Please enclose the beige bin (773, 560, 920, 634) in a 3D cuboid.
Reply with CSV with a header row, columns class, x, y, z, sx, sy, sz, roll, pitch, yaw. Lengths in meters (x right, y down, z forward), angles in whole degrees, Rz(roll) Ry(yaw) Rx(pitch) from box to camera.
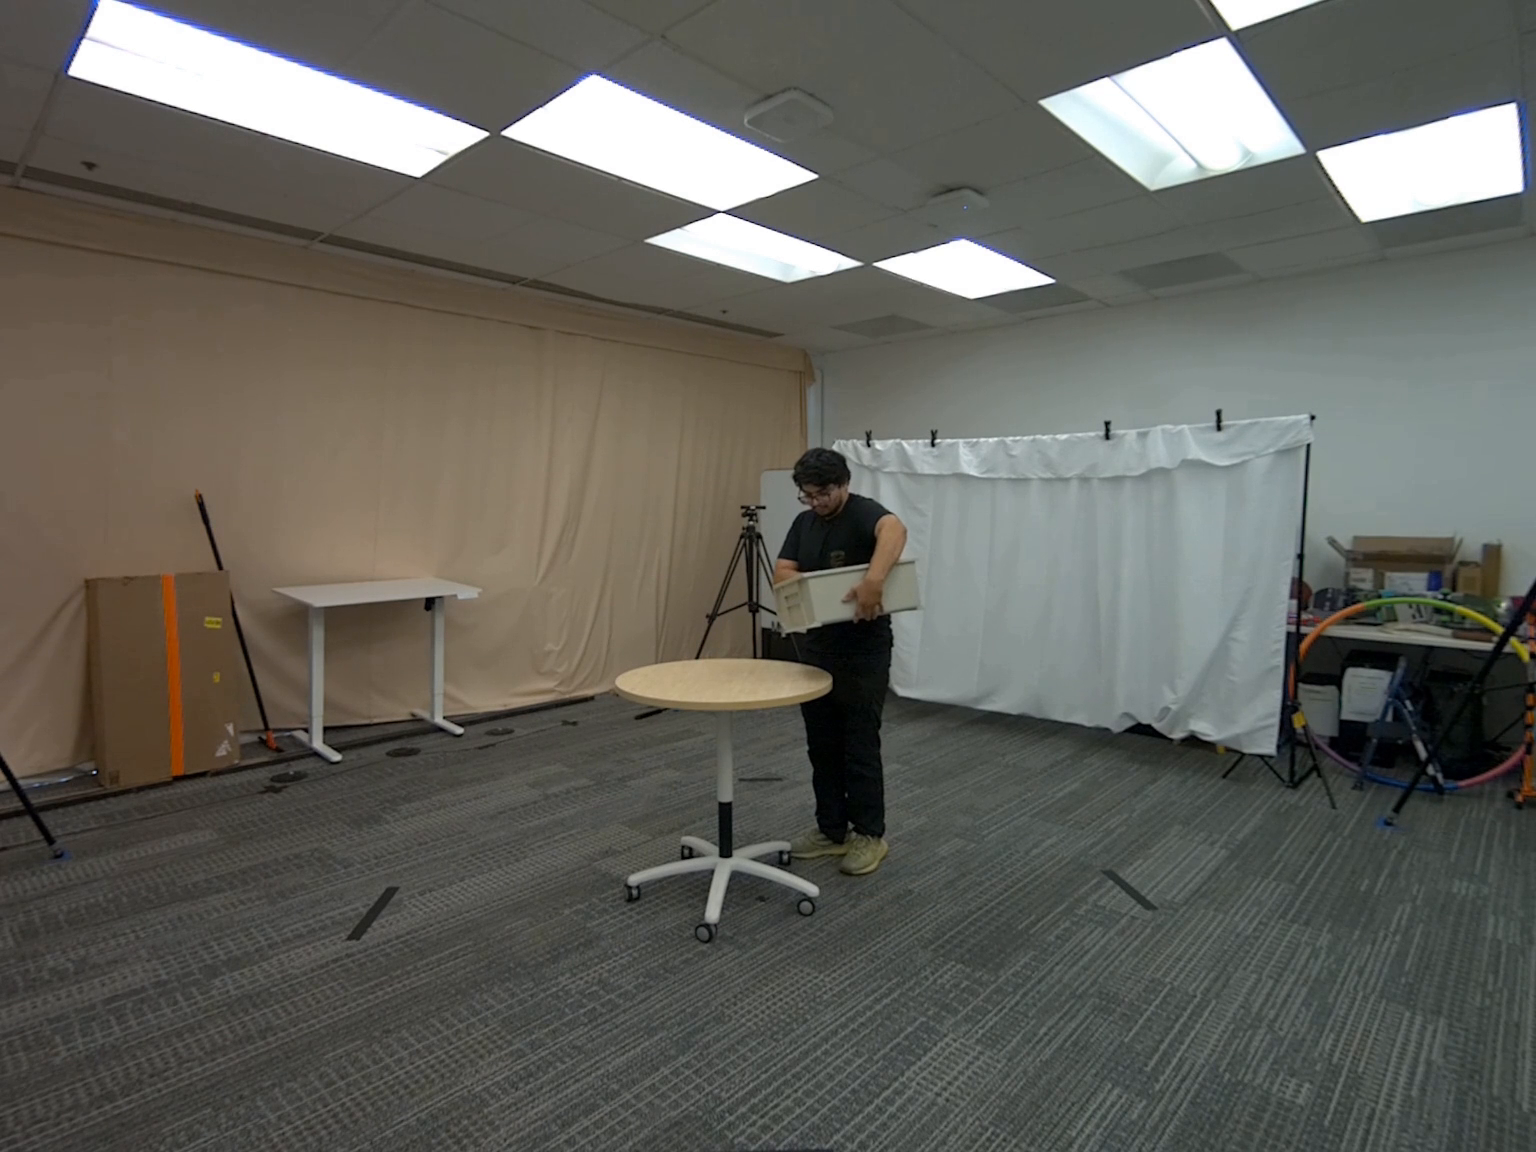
class,x,y,z,sx,sy,sz,roll,pitch,yaw
beige bin,0.272,0.070,2.988,0.416,0.189,0.382,-8,-3,-16
